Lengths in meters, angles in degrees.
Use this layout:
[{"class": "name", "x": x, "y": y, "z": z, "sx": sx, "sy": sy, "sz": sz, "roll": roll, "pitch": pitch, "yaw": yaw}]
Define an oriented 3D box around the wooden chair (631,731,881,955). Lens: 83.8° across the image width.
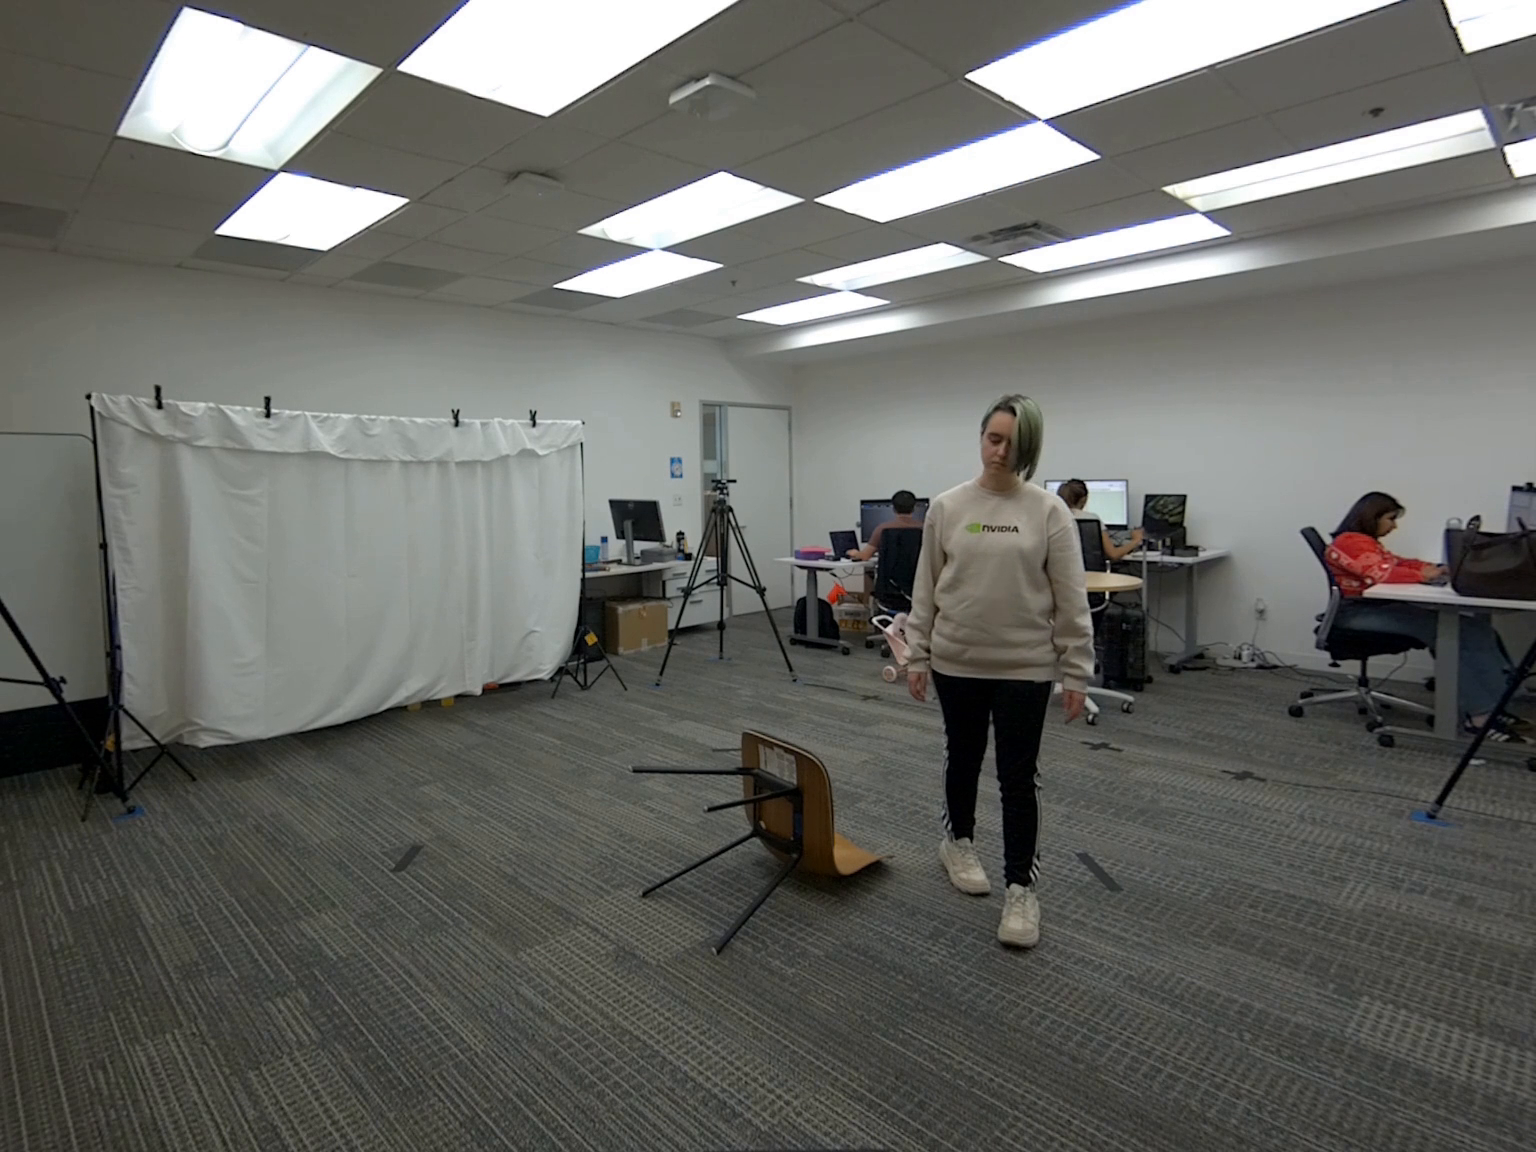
[{"class": "wooden chair", "x": 0.026, "y": 0.809, "z": 2.917, "sx": 0.855, "sy": 0.521, "sz": 0.492, "roll": -4, "pitch": 5, "yaw": -37}]
